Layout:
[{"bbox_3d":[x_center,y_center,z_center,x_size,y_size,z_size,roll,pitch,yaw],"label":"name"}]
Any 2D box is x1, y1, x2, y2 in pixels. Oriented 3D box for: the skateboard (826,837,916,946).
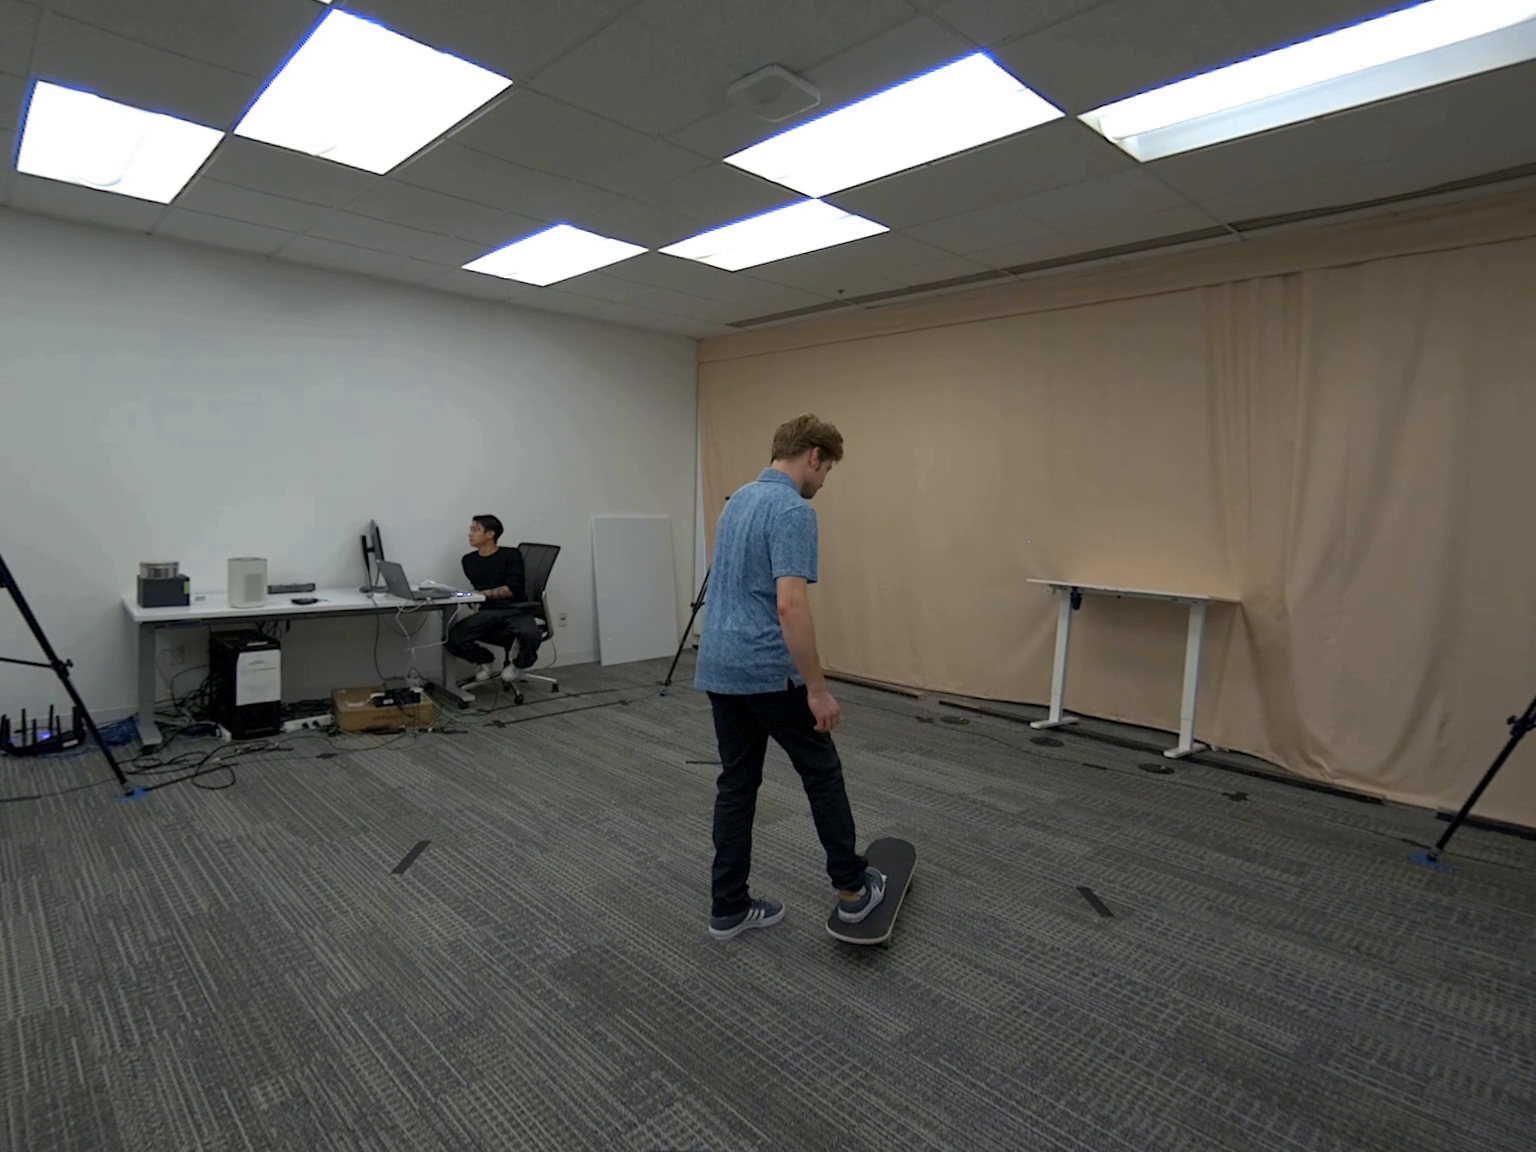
[{"bbox_3d":[0.358,1.078,2.841,0.196,0.110,0.775,2,5,19],"label":"skateboard"}]
